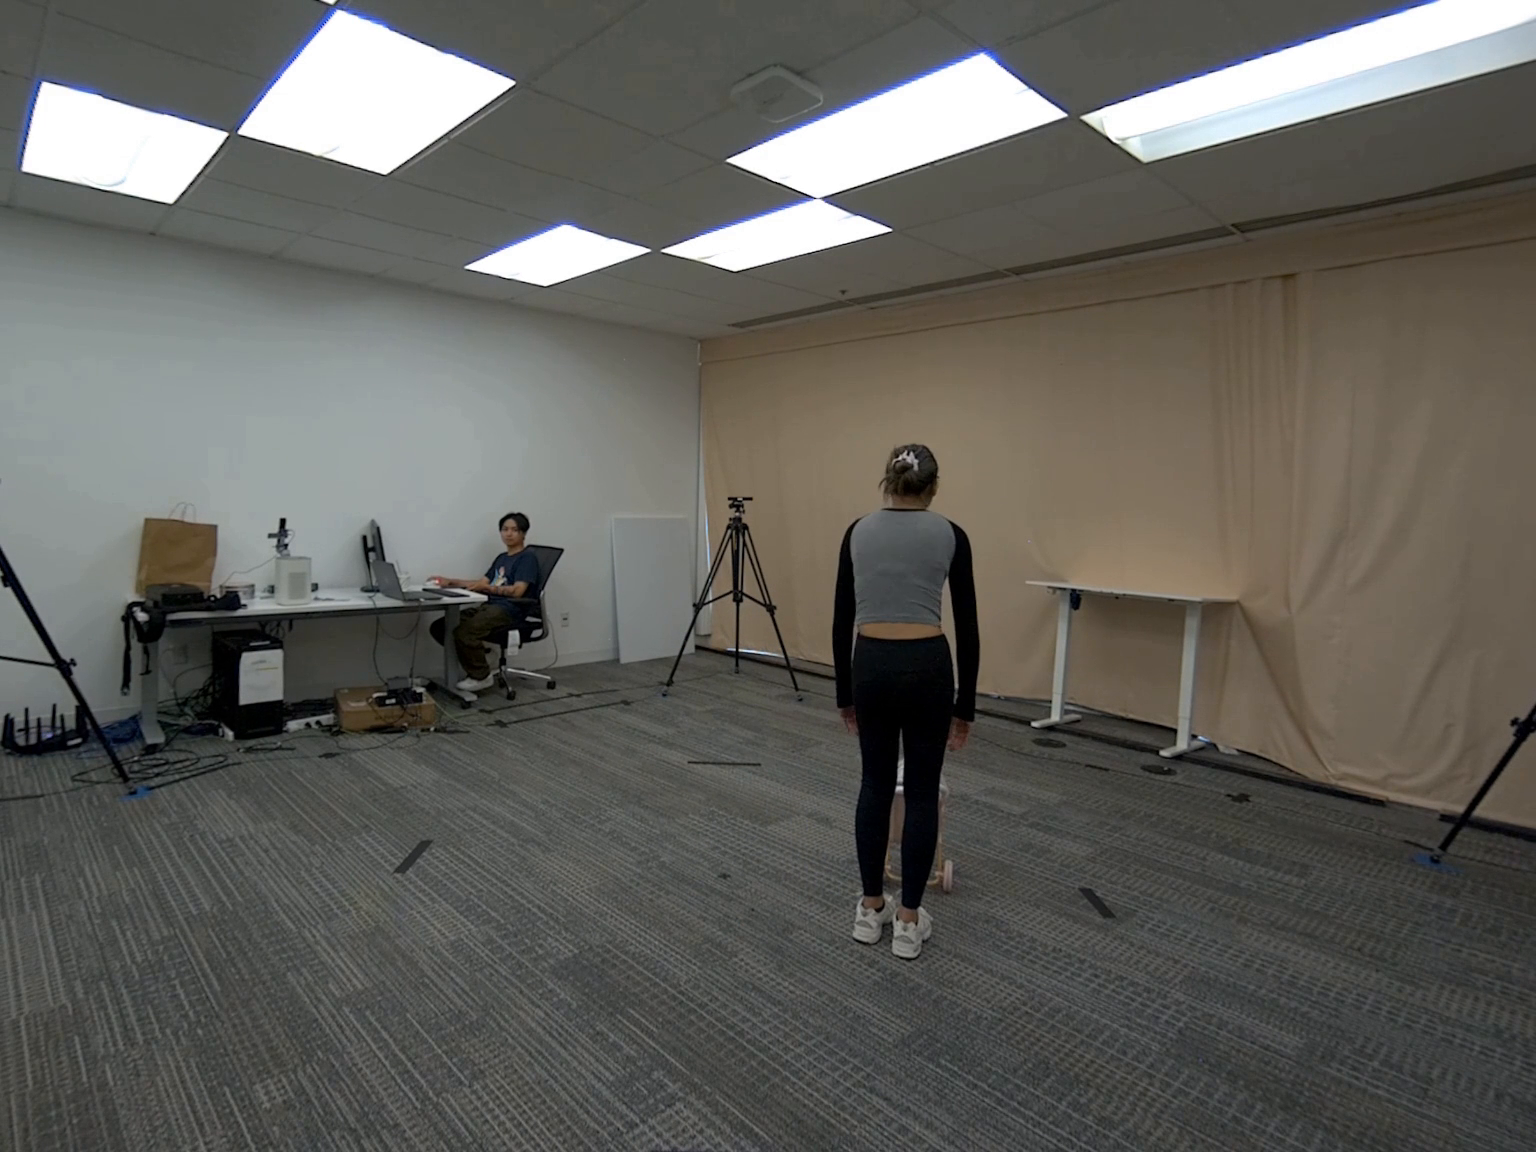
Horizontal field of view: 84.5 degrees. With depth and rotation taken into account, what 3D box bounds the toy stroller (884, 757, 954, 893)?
[{"bbox_3d":[0.545,0.905,3.105,0.285,0.528,0.341,3,18,14],"label":"toy stroller"}]
